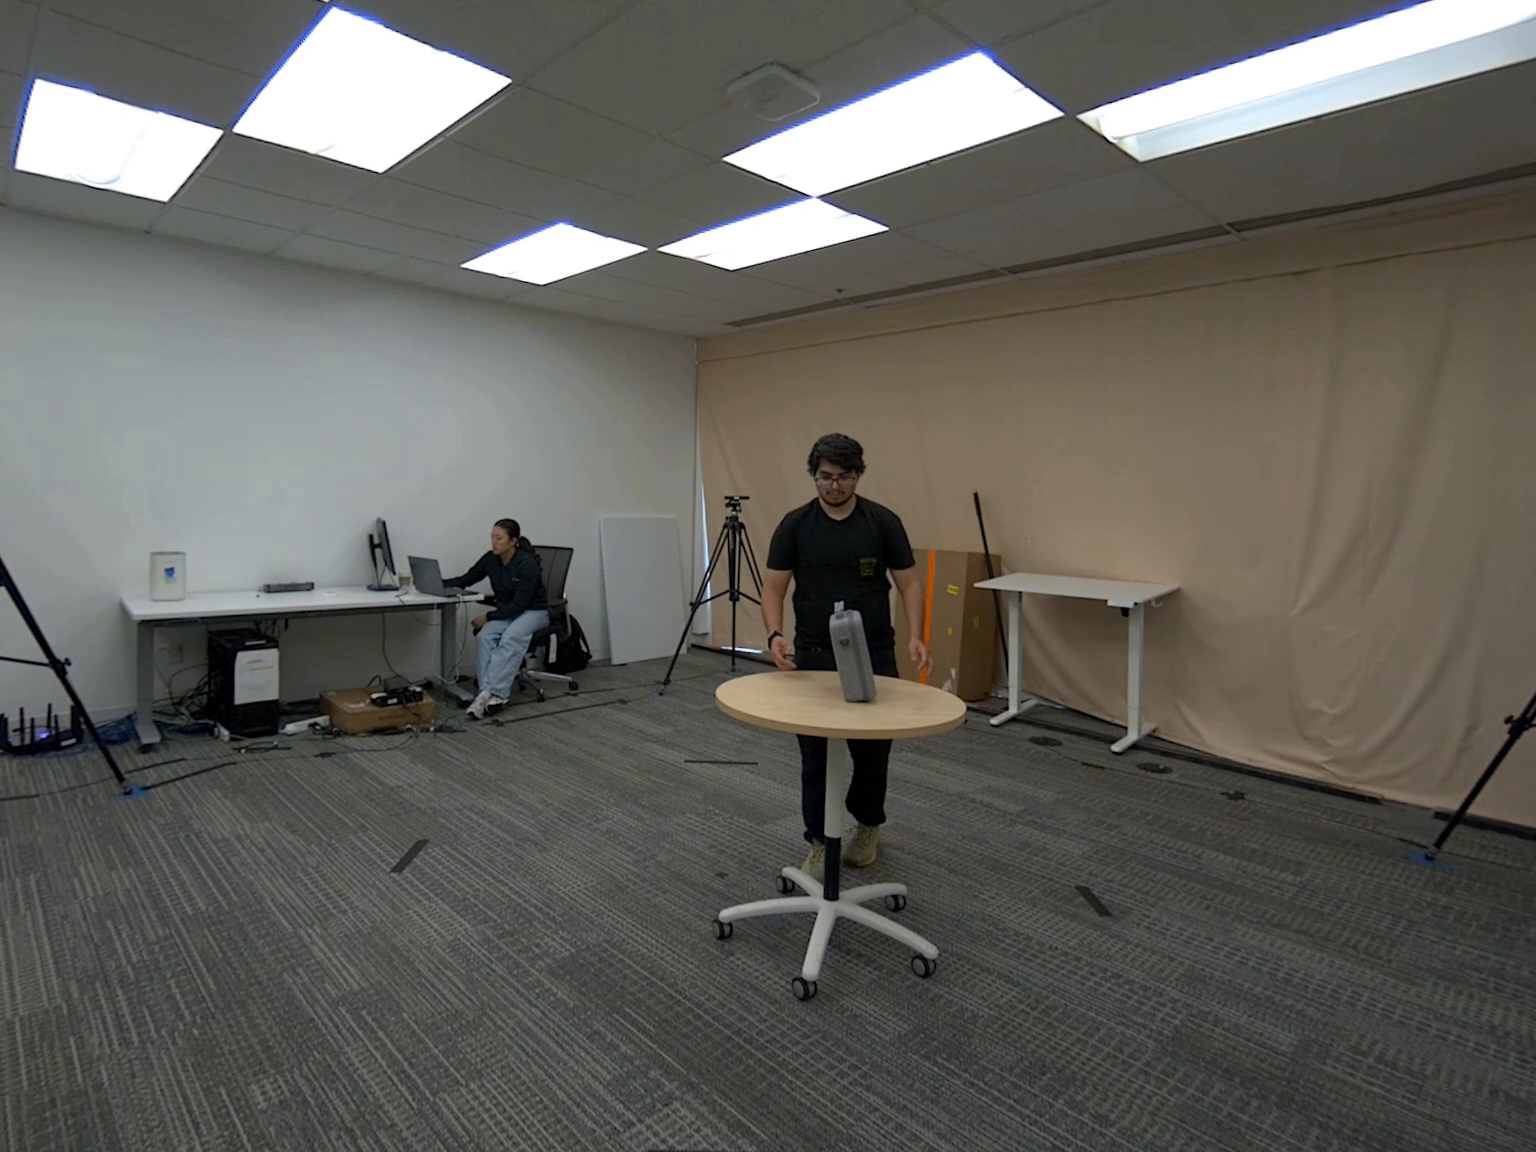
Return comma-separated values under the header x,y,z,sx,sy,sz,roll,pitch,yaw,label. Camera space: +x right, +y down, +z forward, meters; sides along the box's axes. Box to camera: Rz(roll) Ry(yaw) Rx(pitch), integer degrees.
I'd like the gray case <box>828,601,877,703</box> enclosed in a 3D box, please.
x,y,z,sx,sy,sz,roll,pitch,yaw,label
0.251,0.243,2.635,0.105,0.260,0.255,-8,1,8,gray case
